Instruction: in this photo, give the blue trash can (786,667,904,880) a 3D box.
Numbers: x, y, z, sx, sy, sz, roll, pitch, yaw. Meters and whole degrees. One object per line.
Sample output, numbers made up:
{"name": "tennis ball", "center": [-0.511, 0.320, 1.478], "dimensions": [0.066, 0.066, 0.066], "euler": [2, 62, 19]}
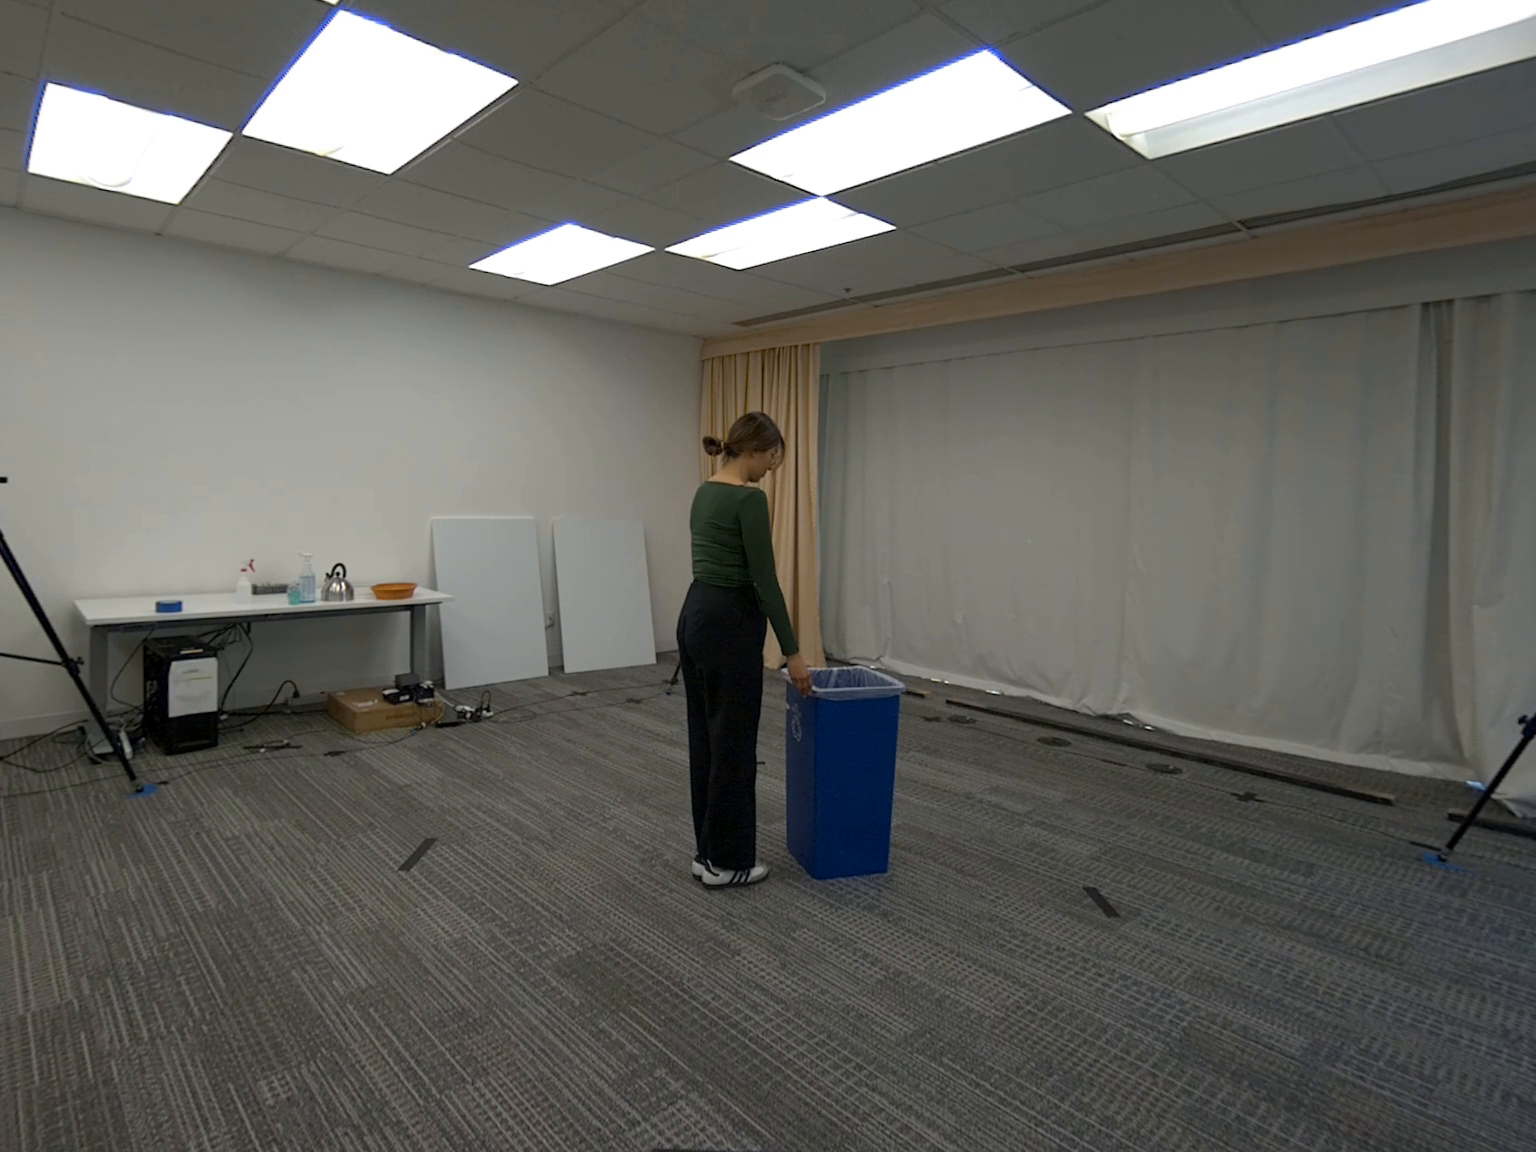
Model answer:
{"name": "blue trash can", "center": [0.268, 0.739, 3.238], "dimensions": [0.369, 0.711, 0.384], "euler": [0, 4, -18]}
